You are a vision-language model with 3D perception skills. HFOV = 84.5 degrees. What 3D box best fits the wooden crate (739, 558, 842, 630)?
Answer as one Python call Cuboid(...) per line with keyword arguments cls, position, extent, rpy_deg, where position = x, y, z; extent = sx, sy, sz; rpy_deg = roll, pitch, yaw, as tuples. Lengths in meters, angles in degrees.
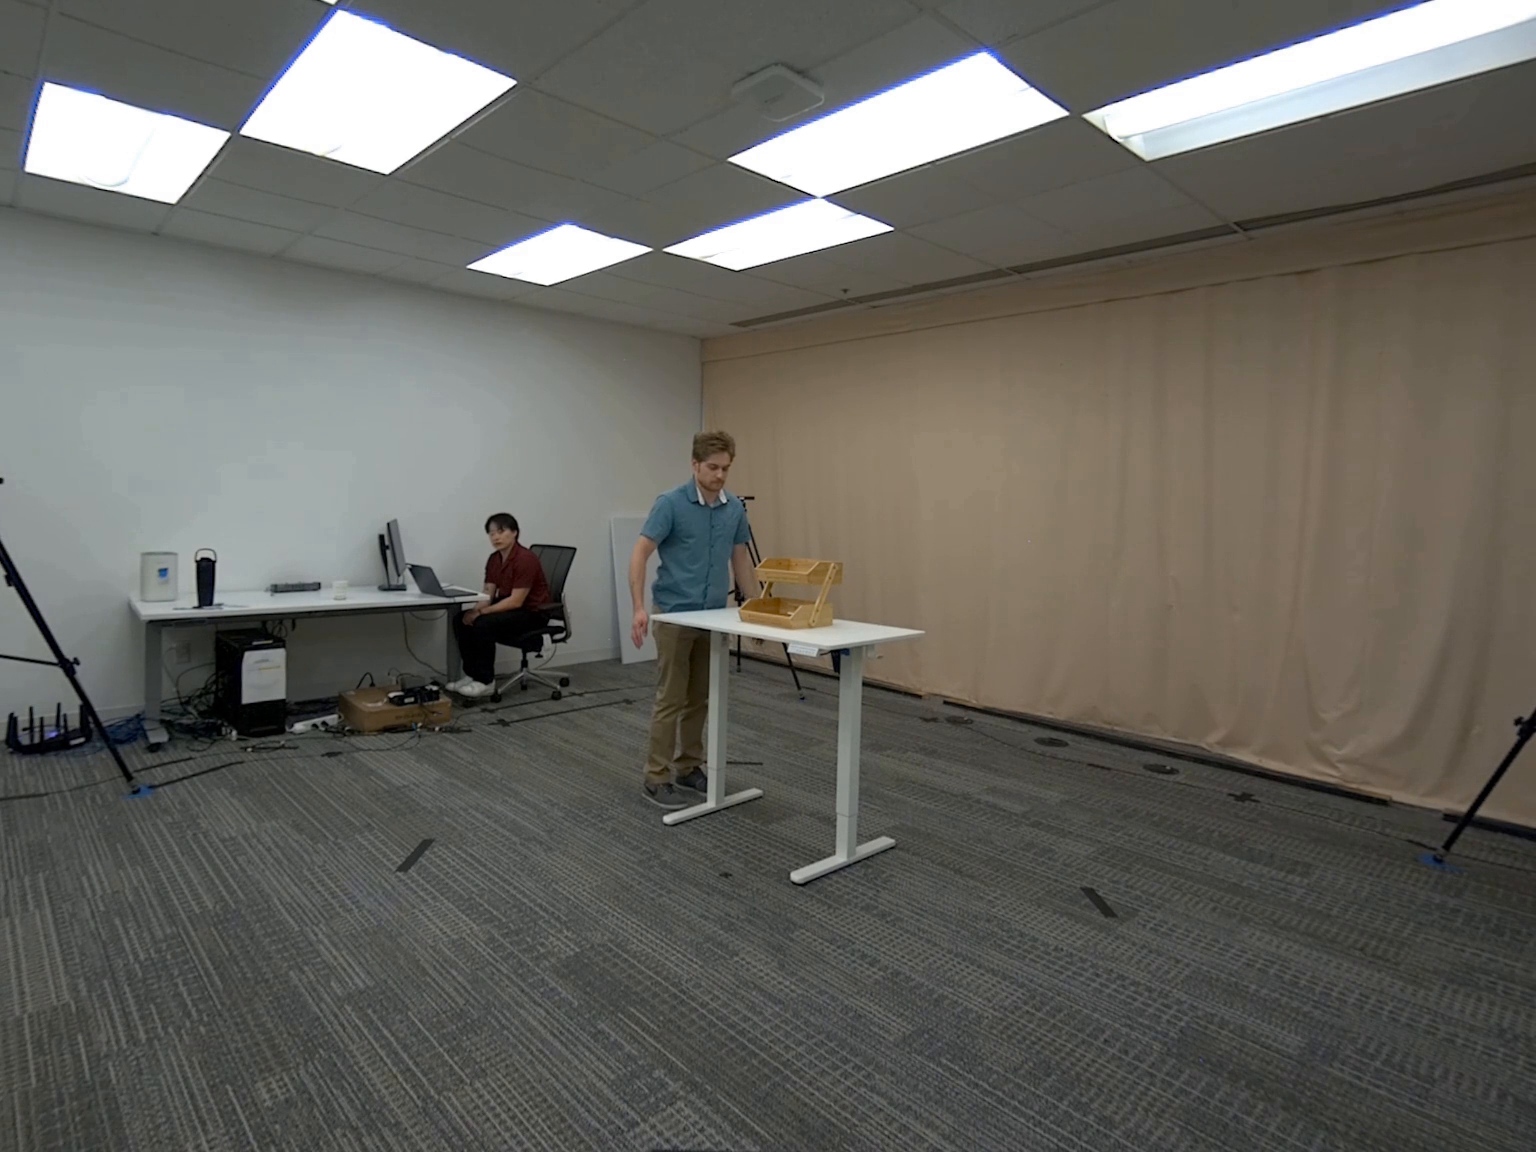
Cuboid(cls="wooden crate", position=(0.084, 0.062, 3.465), extent=(0.295, 0.273, 0.333), rpy_deg=(-1, 4, -44))
